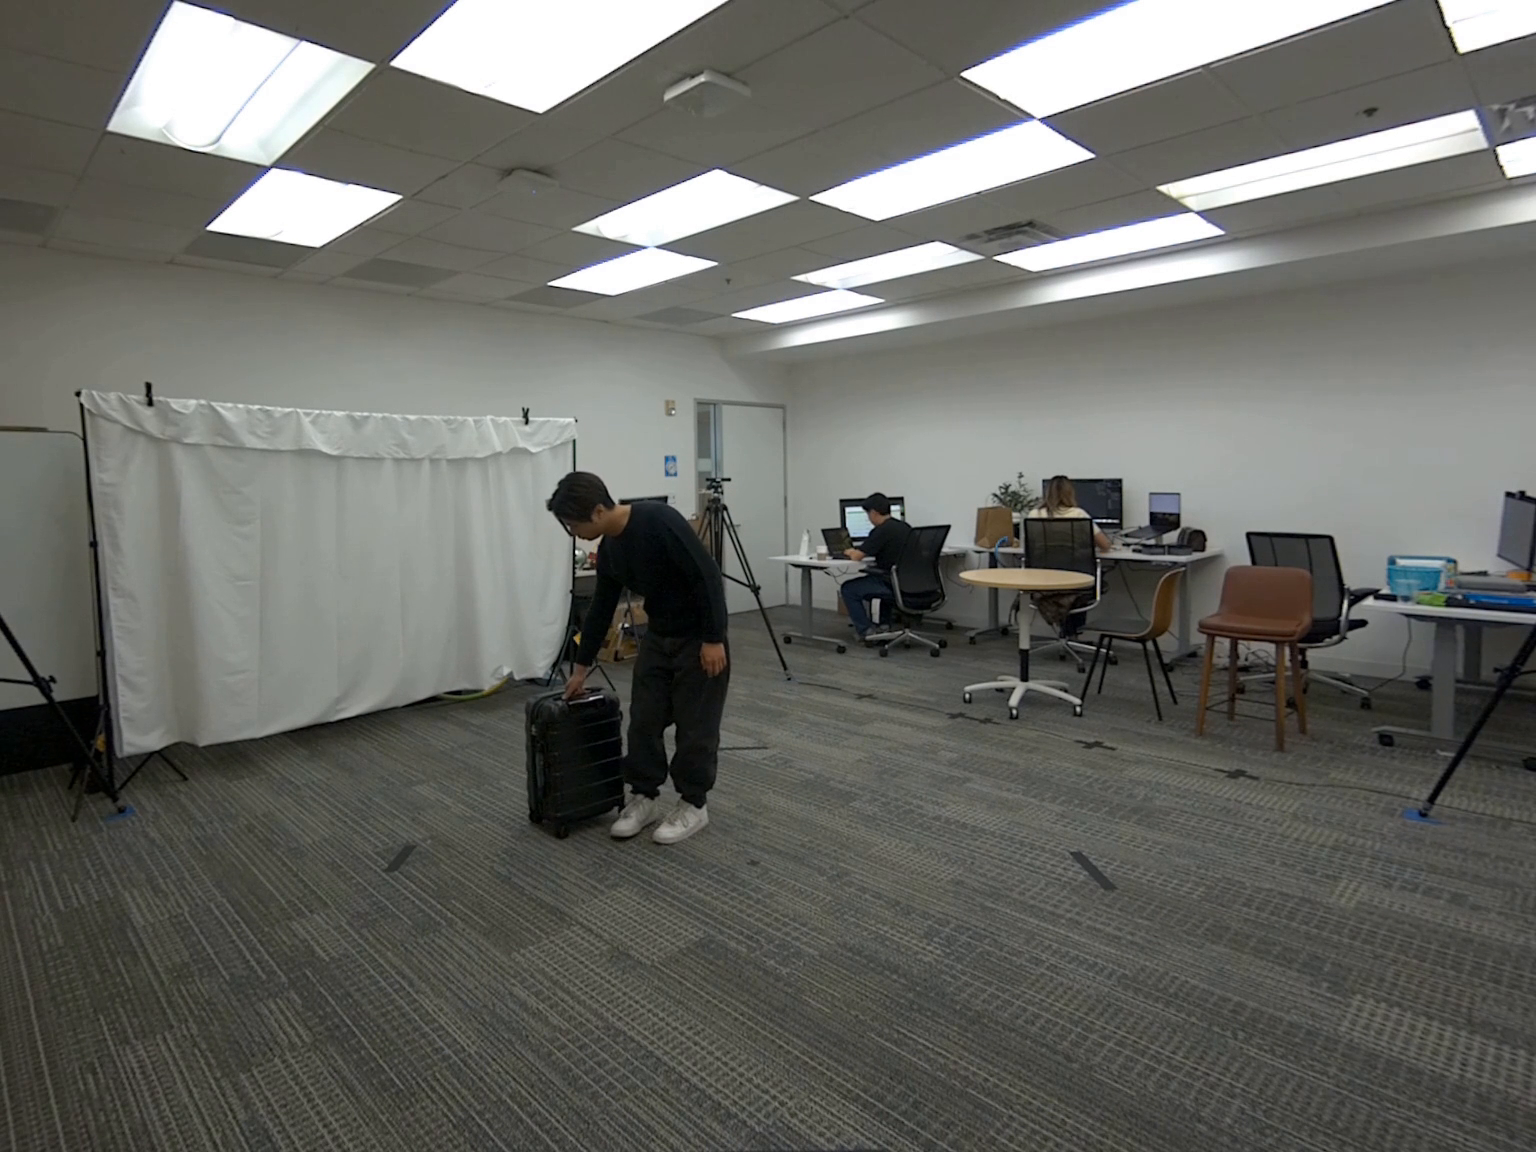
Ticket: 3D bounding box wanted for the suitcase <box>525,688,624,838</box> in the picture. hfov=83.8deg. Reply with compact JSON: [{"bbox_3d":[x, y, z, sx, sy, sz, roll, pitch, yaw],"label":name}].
[{"bbox_3d":[-0.798,0.735,3.506,0.366,0.547,0.256,-7,7,-40],"label":"suitcase"}]
